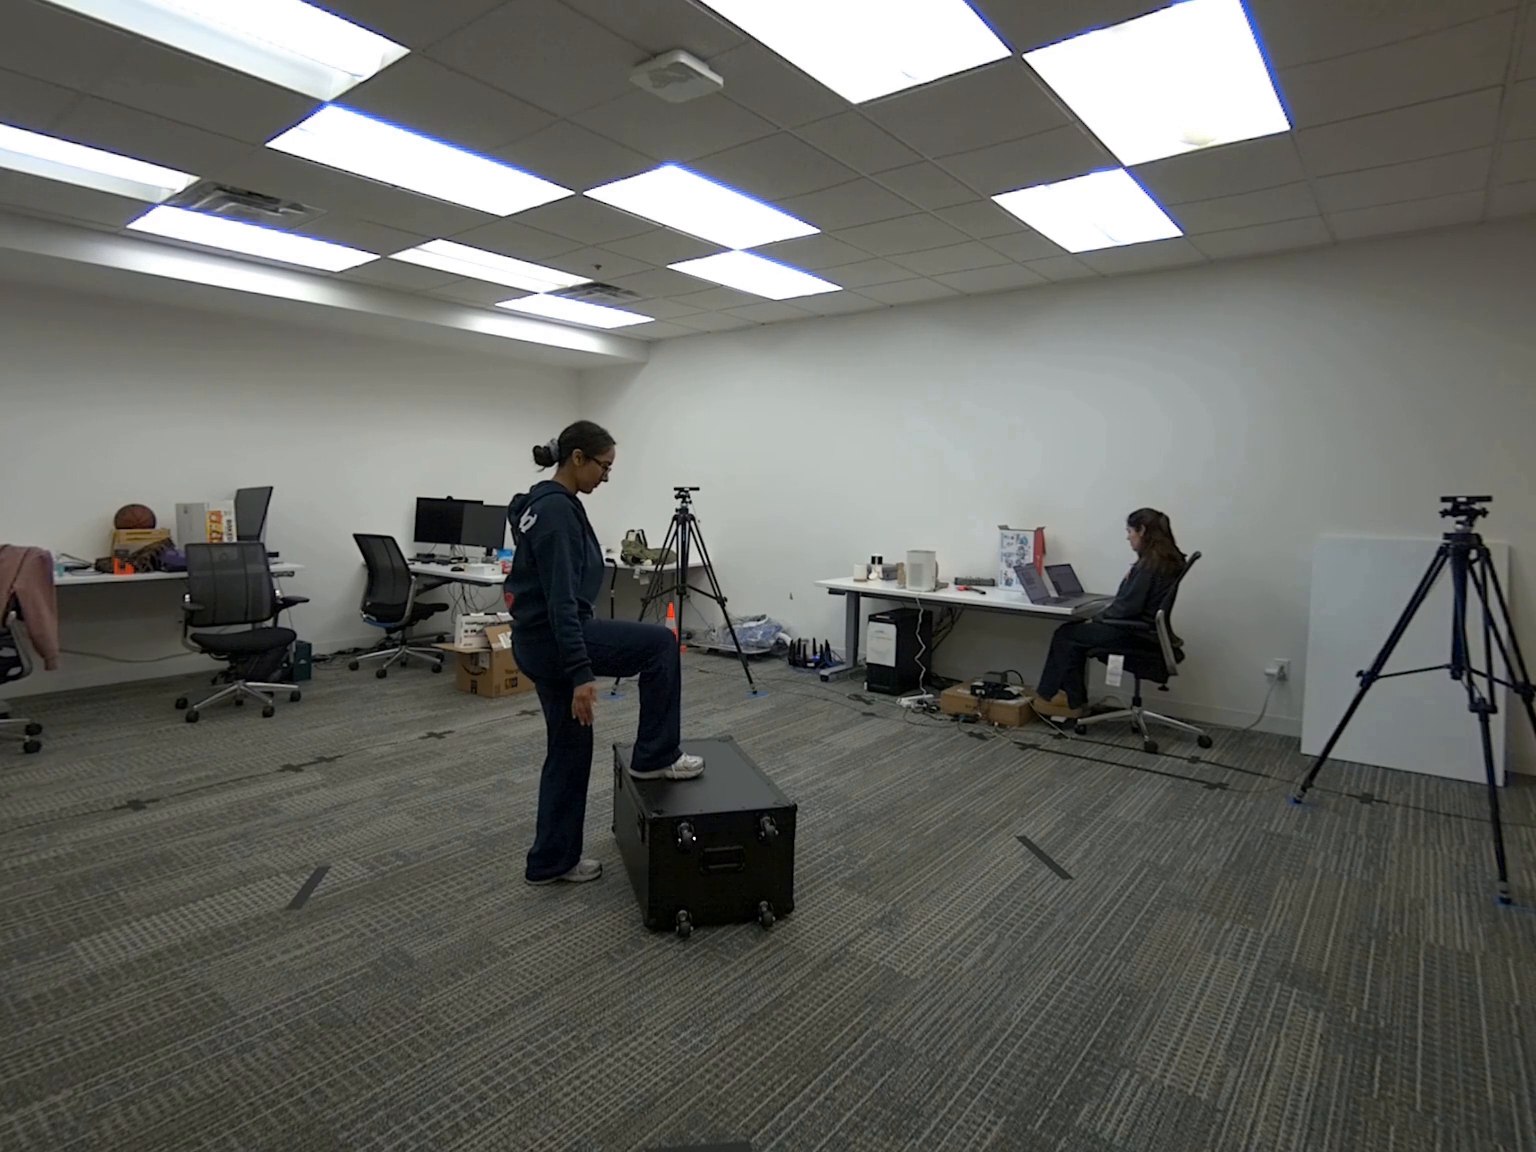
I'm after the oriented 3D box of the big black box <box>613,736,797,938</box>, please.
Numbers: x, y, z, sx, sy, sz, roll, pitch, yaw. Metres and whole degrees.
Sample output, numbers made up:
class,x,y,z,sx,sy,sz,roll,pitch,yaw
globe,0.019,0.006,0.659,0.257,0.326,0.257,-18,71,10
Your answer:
class,x,y,z,sx,sy,sz,roll,pitch,yaw
big black box,-0.262,0.884,3.017,0.512,0.395,0.880,-1,5,-18
